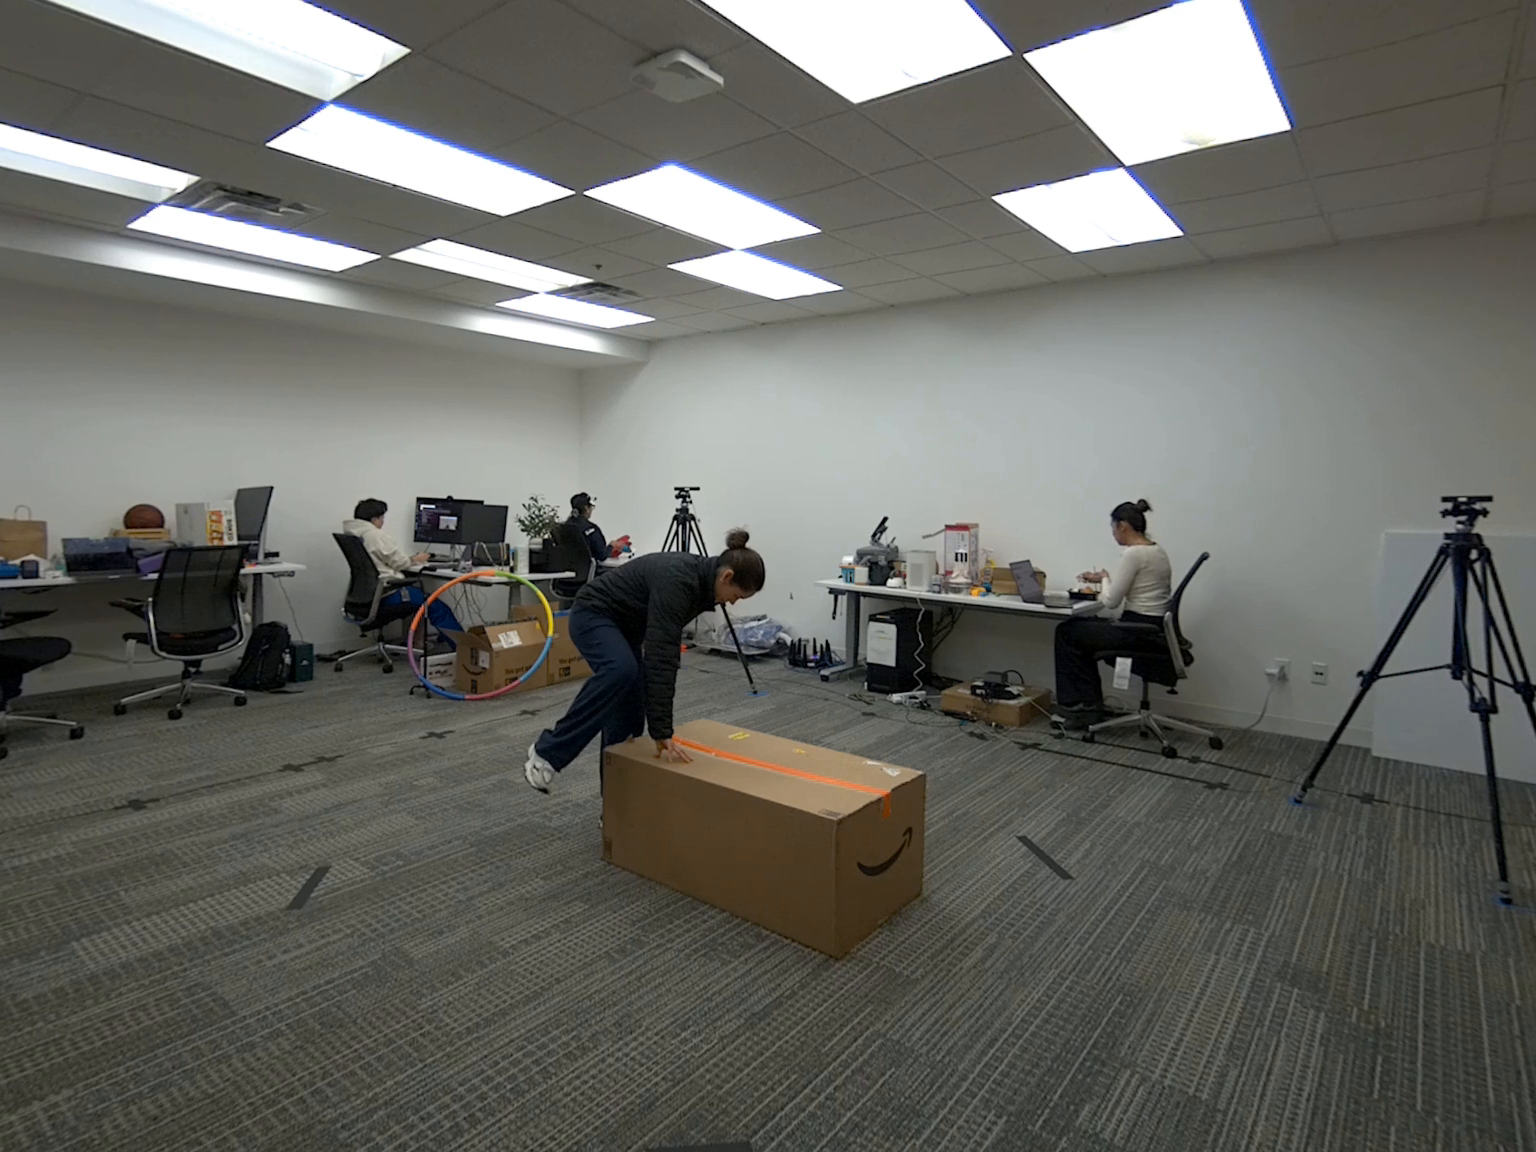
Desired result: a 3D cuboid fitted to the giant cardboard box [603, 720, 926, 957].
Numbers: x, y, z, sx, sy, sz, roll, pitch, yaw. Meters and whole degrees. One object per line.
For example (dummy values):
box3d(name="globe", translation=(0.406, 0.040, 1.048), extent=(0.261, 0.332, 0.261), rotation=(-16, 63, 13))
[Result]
box3d(name="giant cardboard box", translation=(-0.023, 0.867, 3.059), extent=(1.062, 0.444, 0.567), rotation=(6, 8, 38))
